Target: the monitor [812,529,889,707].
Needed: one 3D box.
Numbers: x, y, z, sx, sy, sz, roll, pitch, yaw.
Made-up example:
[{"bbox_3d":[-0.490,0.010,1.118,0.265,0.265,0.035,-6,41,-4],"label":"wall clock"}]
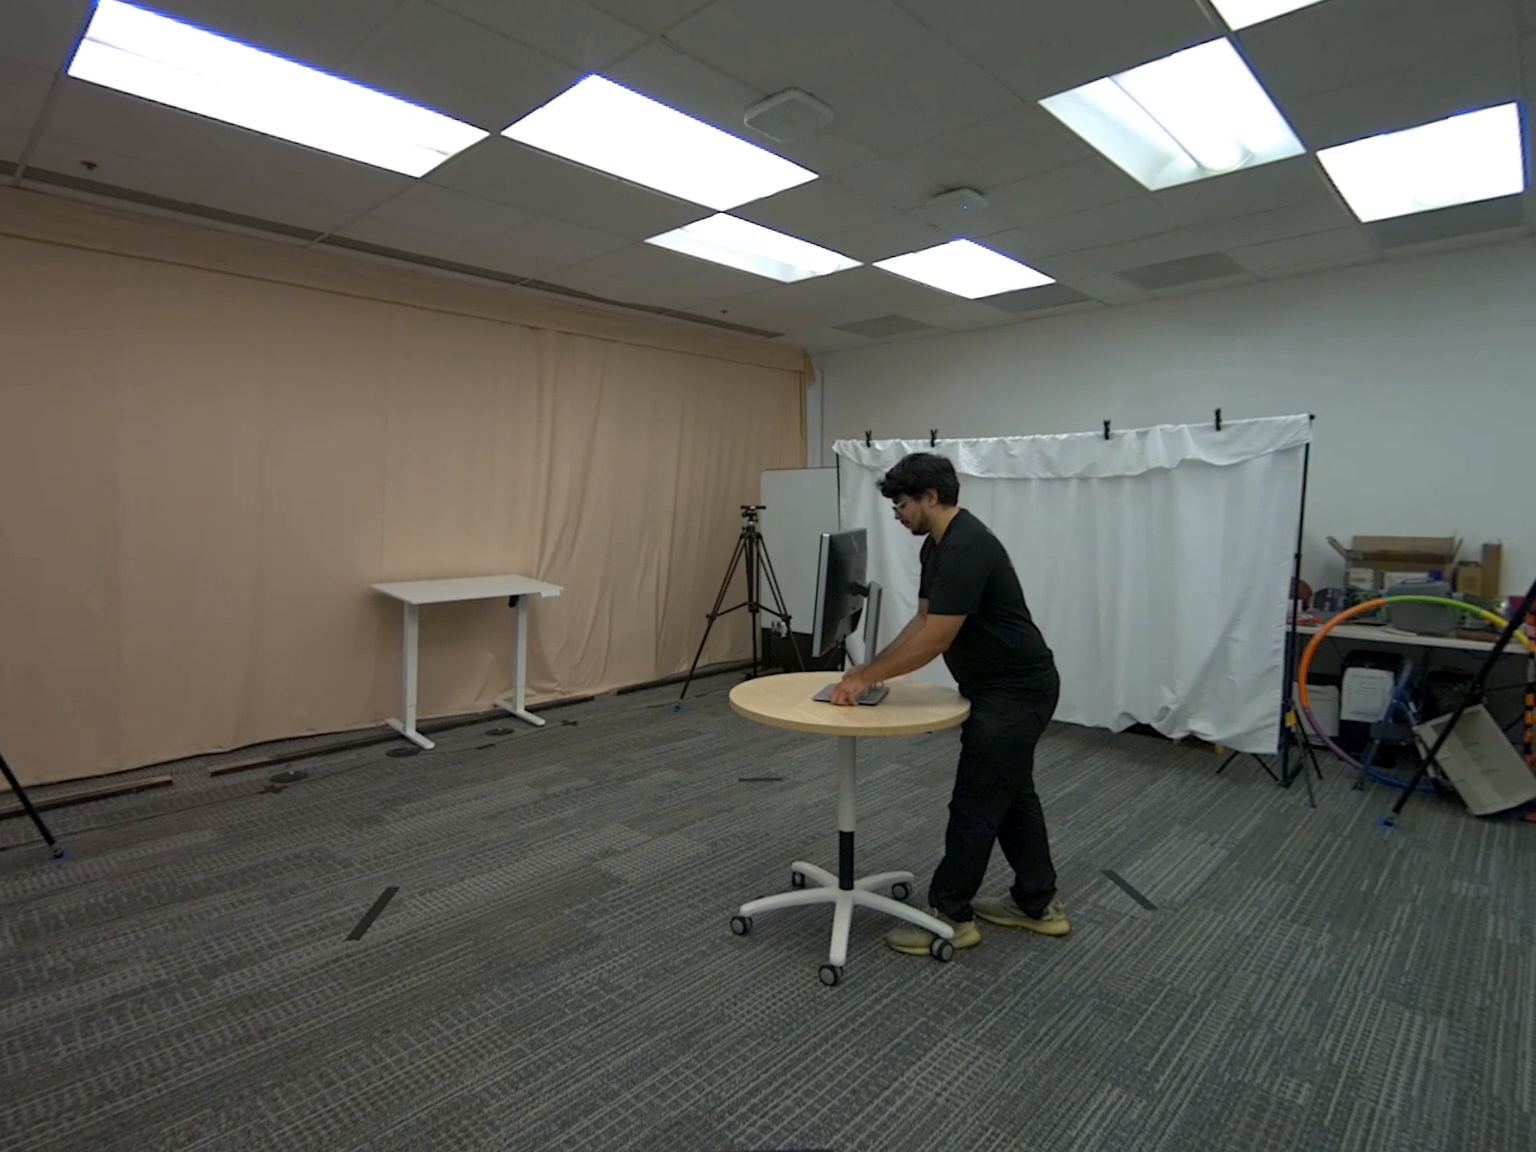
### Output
[{"bbox_3d":[0.303,0.128,2.699,0.215,0.552,0.555,2,5,19],"label":"monitor"}]
